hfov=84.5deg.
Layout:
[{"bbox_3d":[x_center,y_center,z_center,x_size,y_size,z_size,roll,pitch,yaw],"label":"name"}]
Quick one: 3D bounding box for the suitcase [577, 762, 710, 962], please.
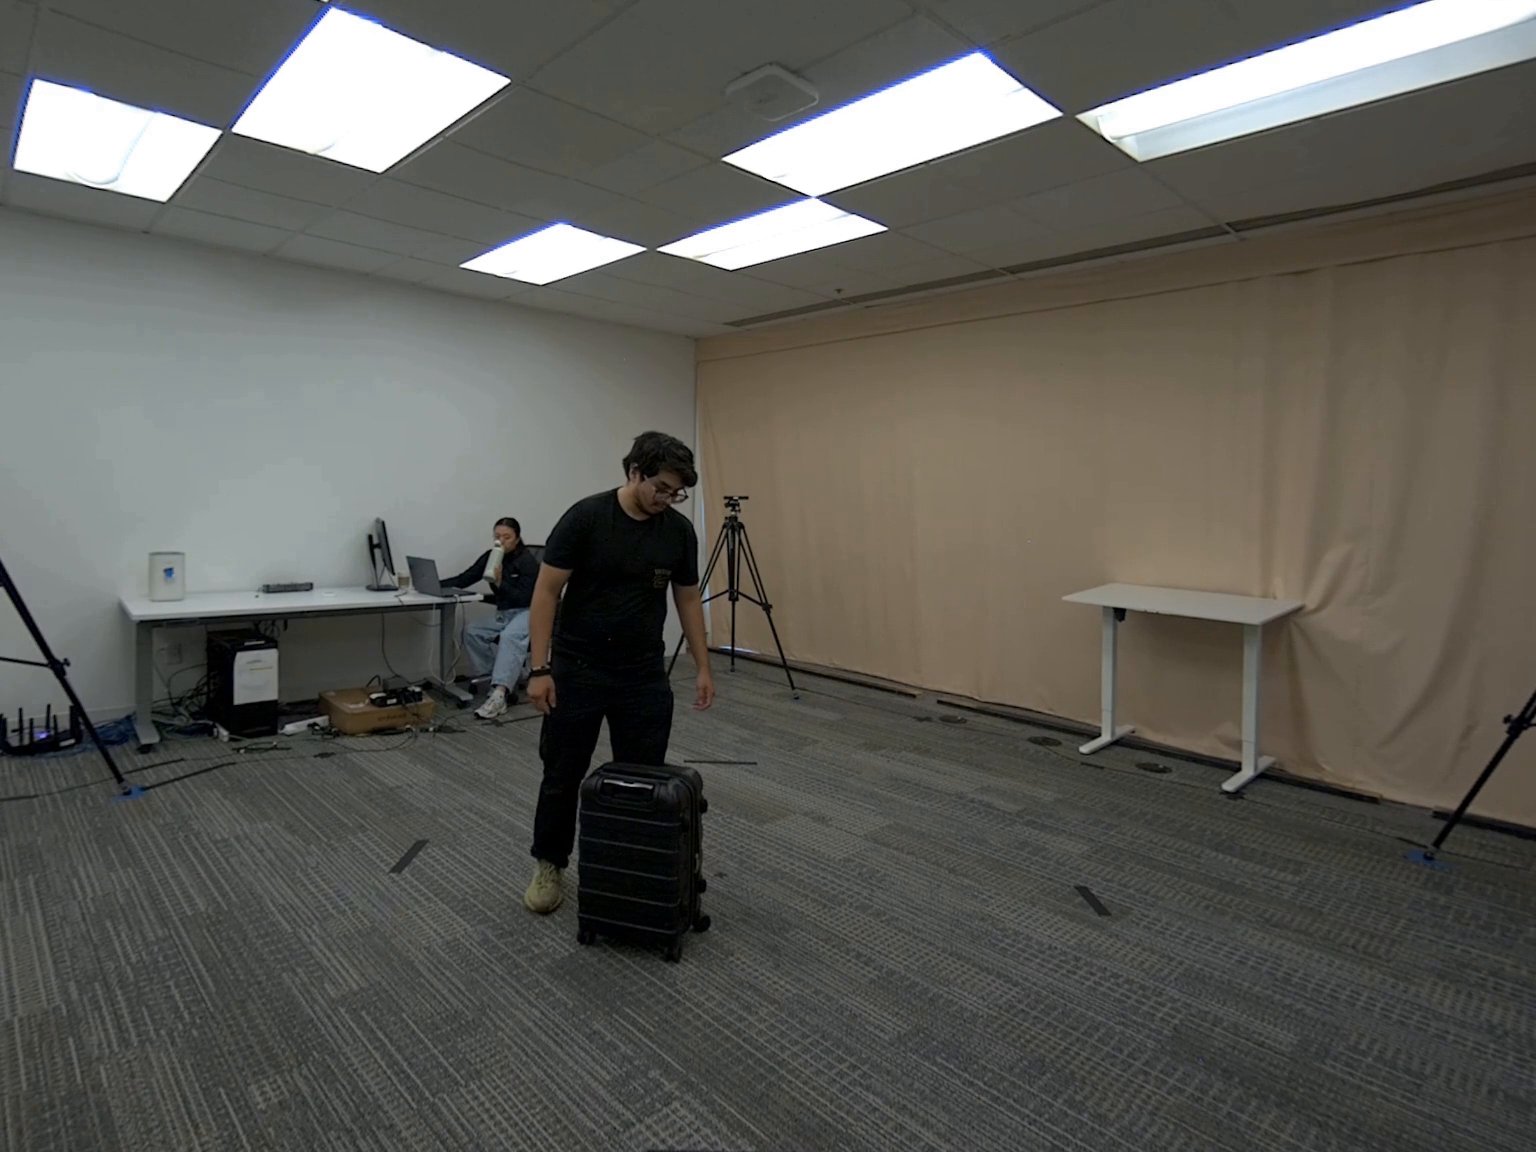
[{"bbox_3d":[-0.399,0.864,2.630,0.381,0.548,0.245,1,4,18],"label":"suitcase"}]
